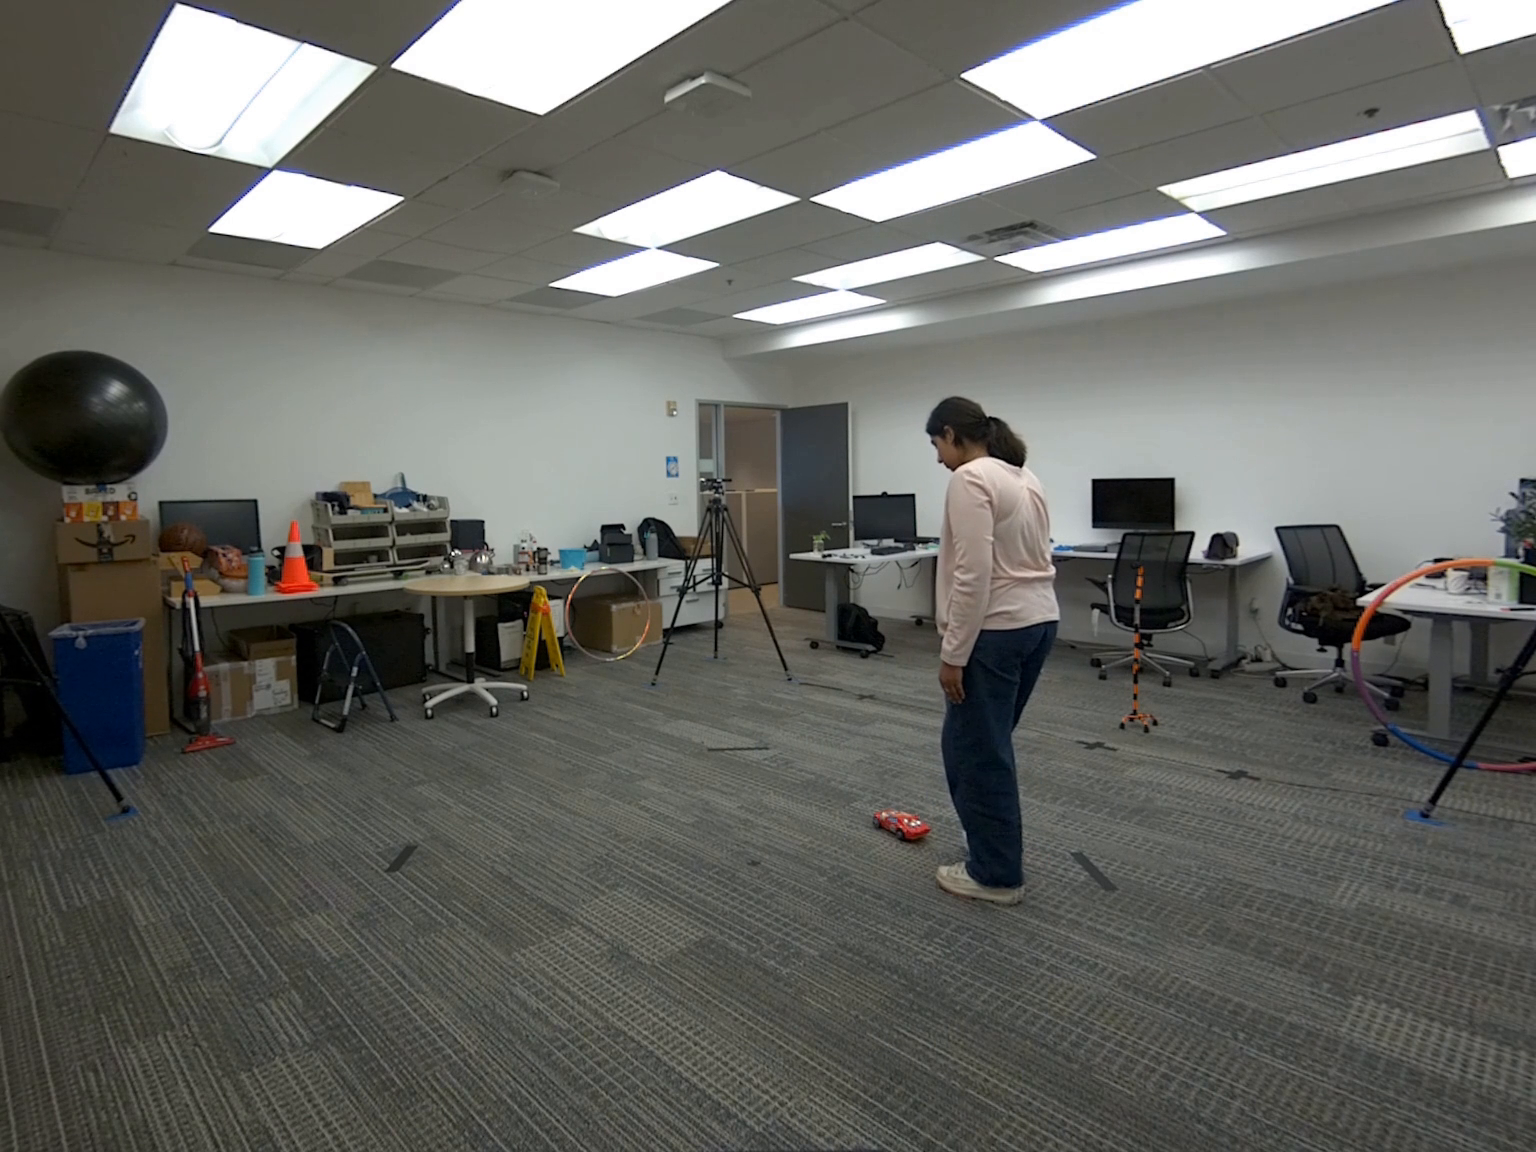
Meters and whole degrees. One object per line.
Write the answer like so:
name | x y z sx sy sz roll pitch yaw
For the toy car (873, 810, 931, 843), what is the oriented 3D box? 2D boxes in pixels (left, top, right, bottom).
toy car | 0.528 0.975 3.344 0.127 0.084 0.259 -4 -5 -29
